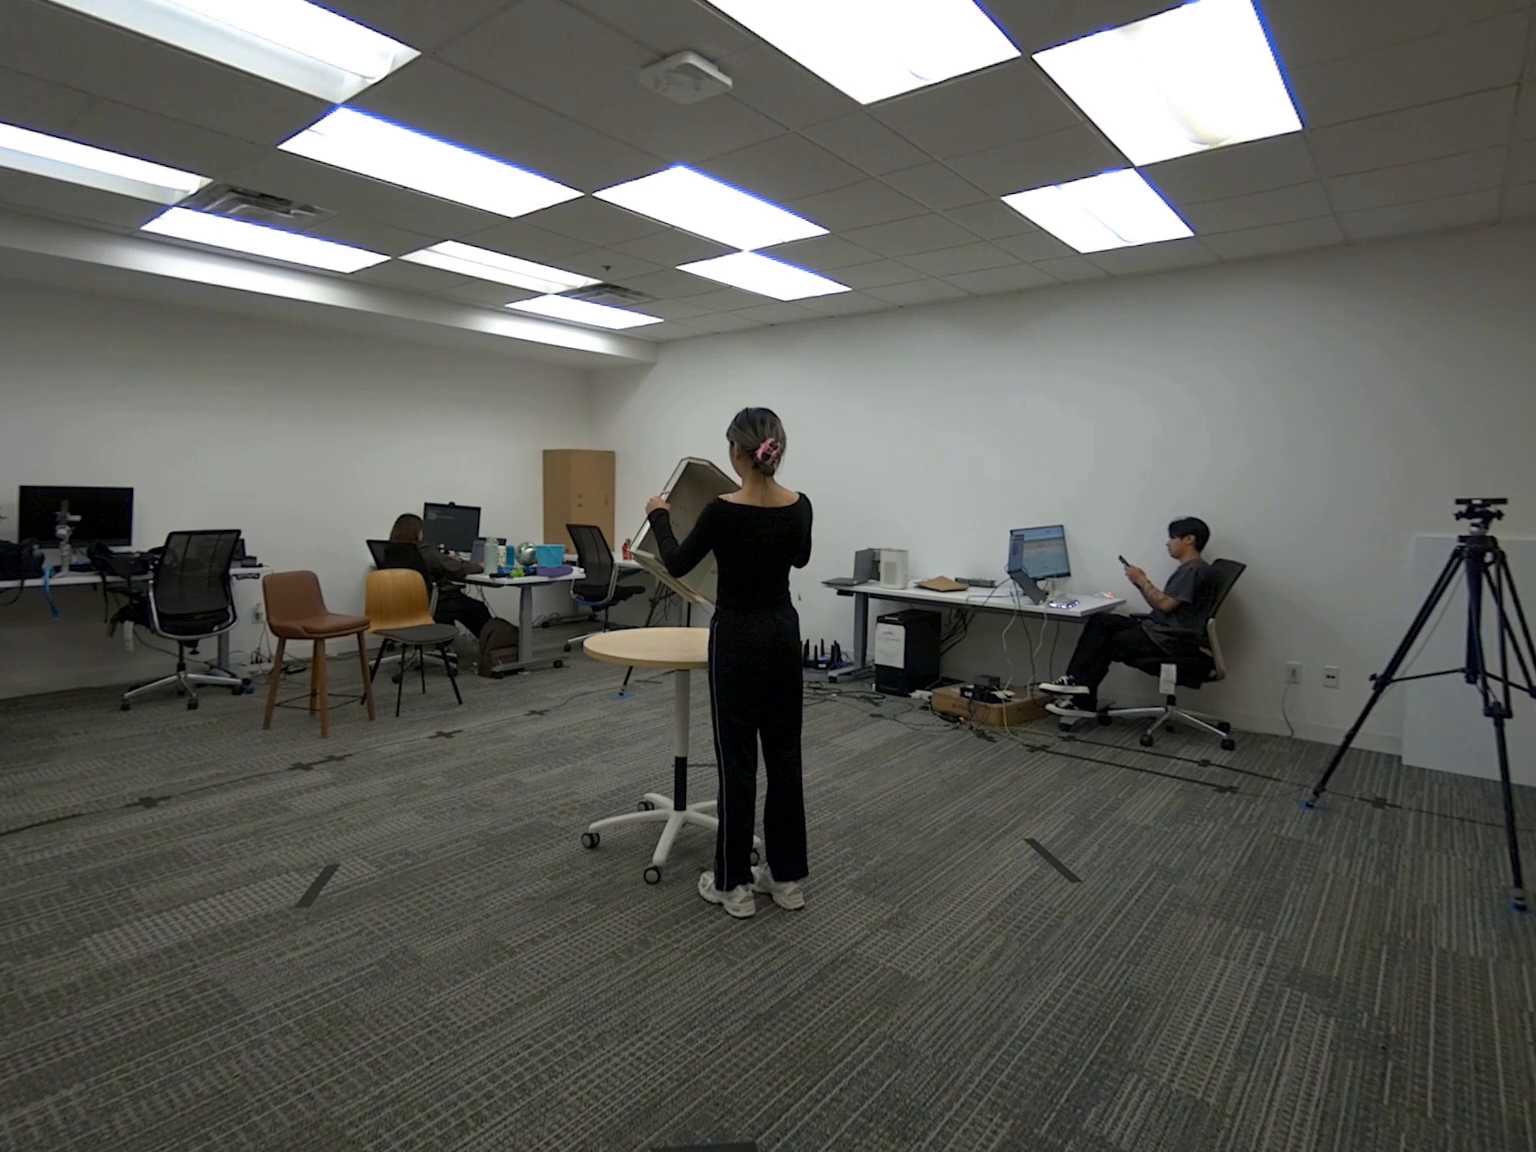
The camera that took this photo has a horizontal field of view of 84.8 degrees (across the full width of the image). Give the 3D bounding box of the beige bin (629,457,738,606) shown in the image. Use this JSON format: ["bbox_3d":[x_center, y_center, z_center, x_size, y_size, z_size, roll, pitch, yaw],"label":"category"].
[{"bbox_3d":[-0.265,-0.164,3.119,0.364,0.425,0.195,38,-20,-31],"label":"beige bin"}]
